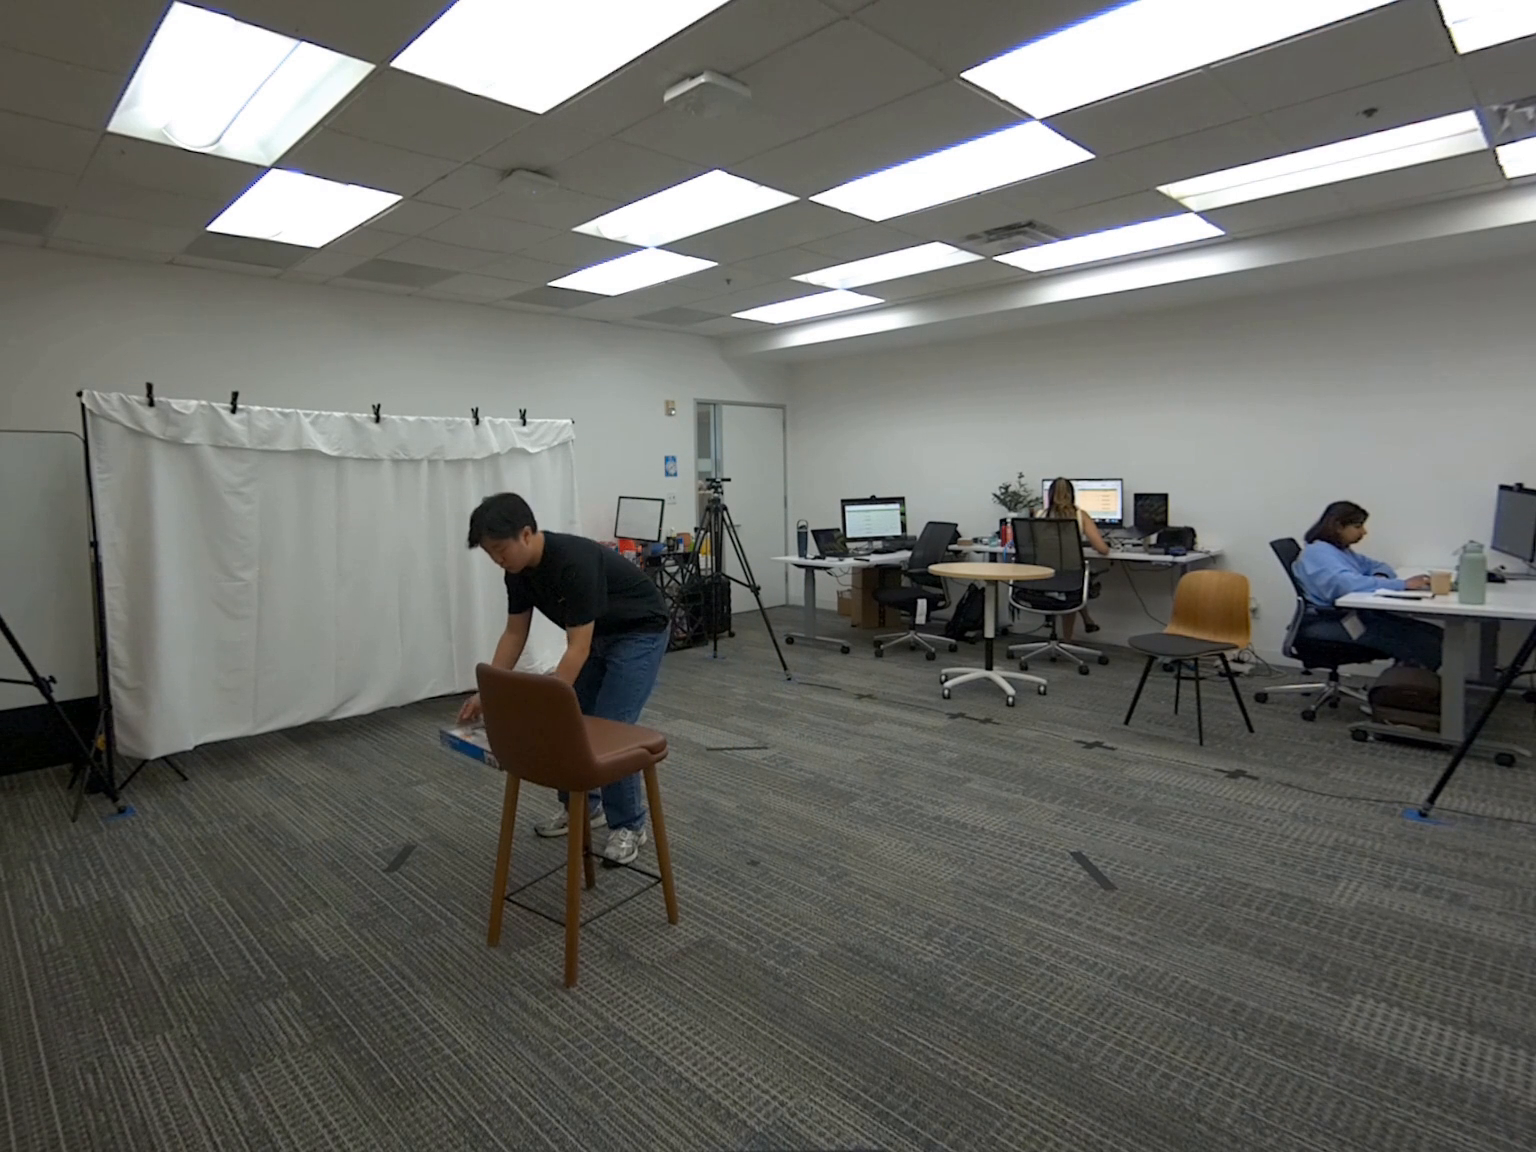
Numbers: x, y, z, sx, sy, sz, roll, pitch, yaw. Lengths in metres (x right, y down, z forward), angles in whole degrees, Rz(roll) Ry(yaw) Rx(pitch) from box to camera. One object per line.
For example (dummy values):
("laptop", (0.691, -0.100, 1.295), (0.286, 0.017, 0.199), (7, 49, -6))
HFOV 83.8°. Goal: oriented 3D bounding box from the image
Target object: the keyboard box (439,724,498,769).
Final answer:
("keyboard box", (-0.976, 0.597, 3.015), (0.171, 0.059, 0.451), (-10, 11, -43))
